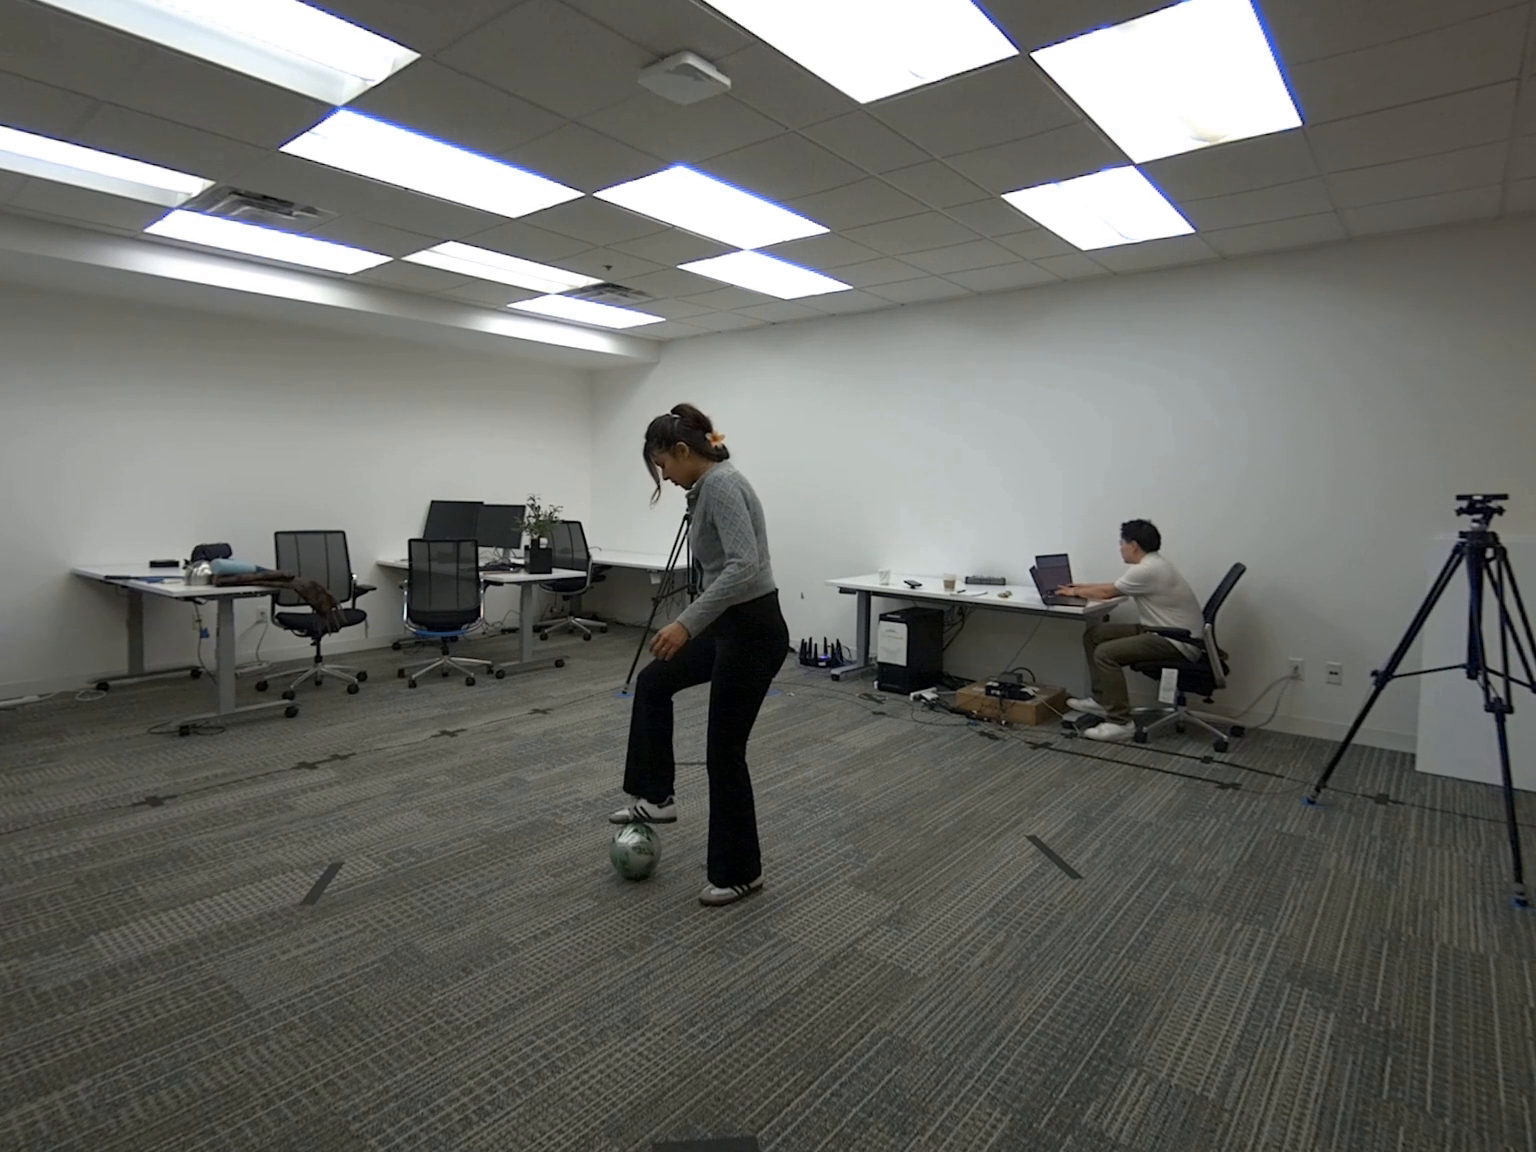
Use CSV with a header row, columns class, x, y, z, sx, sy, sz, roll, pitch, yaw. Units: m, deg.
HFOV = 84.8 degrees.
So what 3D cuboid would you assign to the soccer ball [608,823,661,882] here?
class,x,y,z,sx,sy,sz,roll,pitch,yaw
soccer ball,-0.484,0.979,3.034,0.187,0.187,0.188,1,4,-2
